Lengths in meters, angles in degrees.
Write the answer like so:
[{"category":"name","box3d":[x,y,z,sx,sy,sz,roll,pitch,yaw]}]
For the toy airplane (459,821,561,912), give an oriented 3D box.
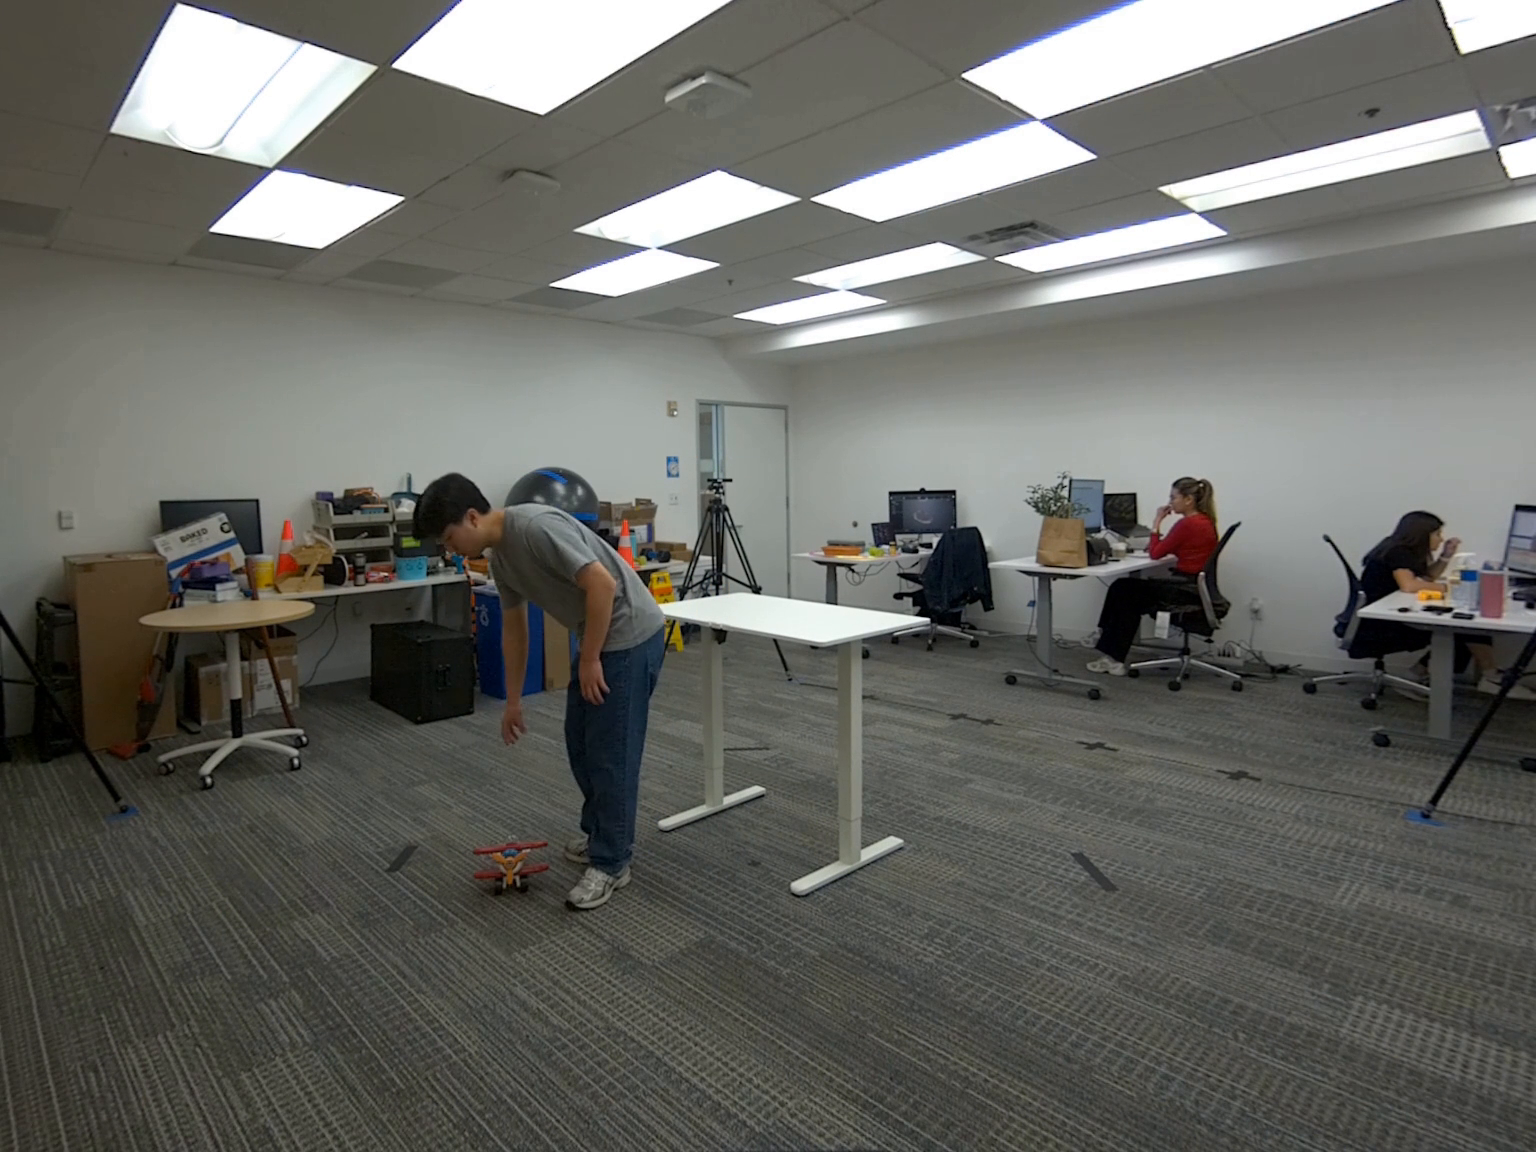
[{"category":"toy airplane","box3d":[-0.903,1.004,2.992,0.244,0.156,0.267,-6,8,-40]}]
